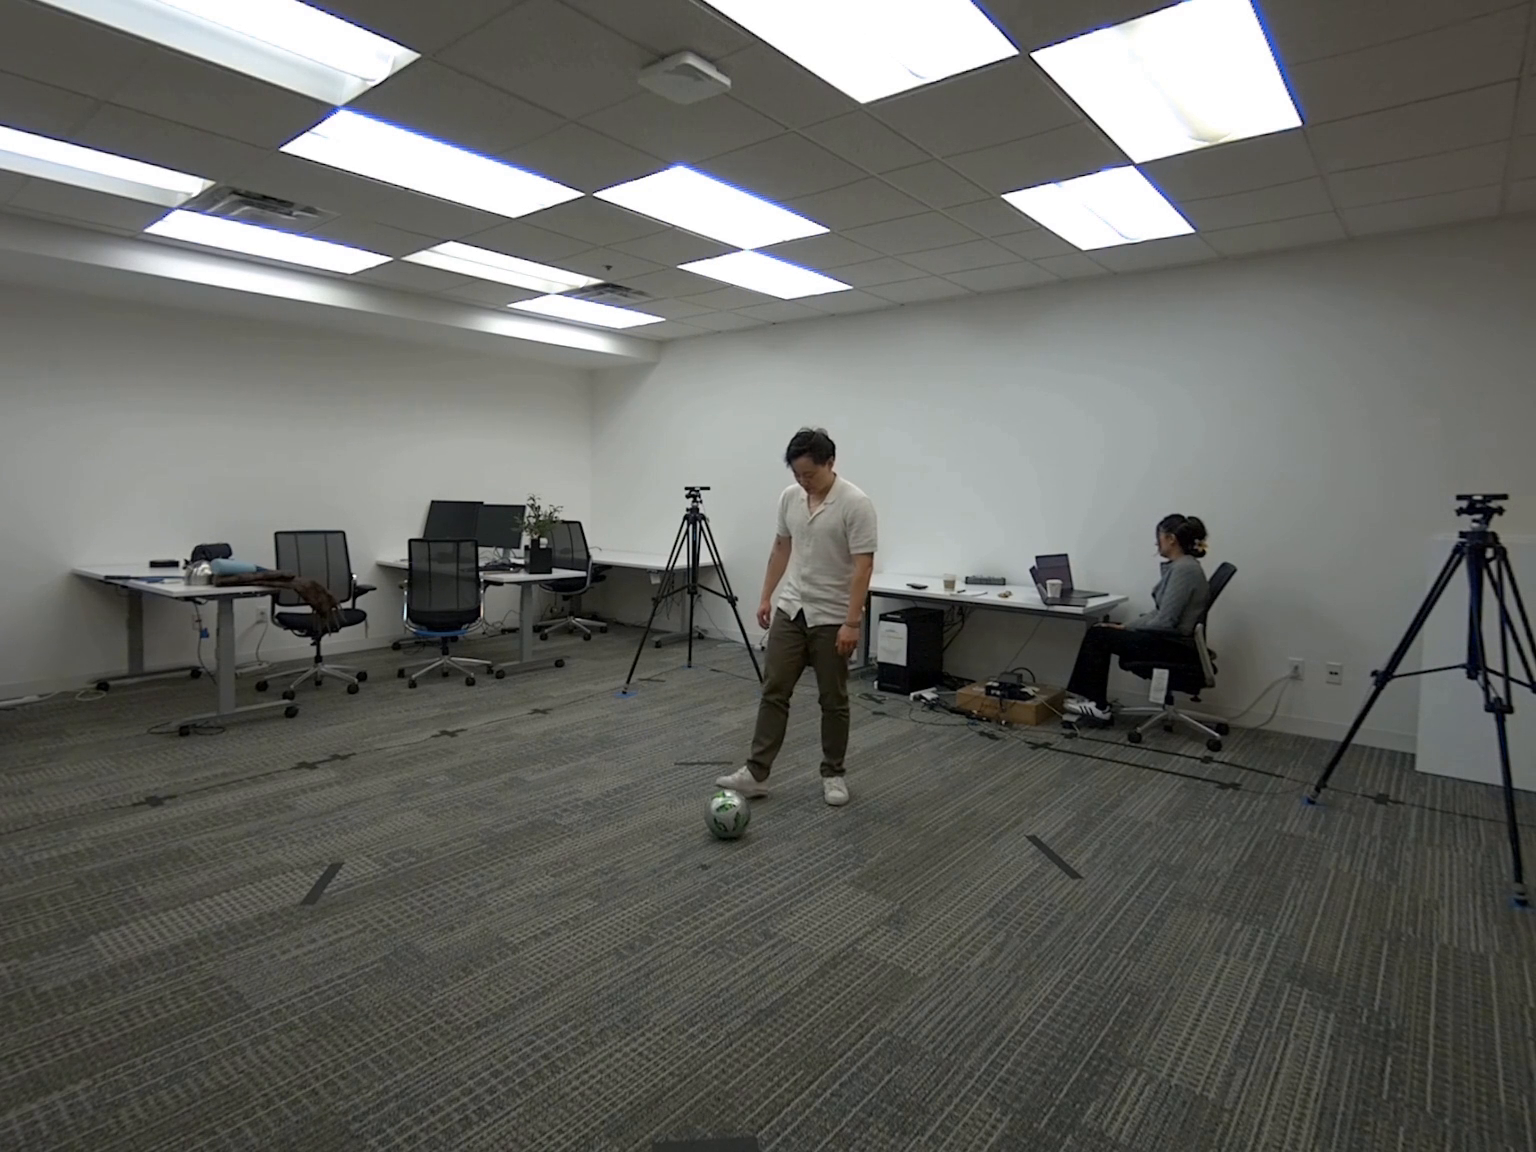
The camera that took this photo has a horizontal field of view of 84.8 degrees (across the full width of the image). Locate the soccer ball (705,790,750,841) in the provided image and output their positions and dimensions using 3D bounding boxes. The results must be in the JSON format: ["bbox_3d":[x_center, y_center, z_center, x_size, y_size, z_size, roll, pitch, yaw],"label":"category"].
[{"bbox_3d":[-0.172,0.945,3.389,0.187,0.187,0.188,1,4,-2],"label":"soccer ball"}]
